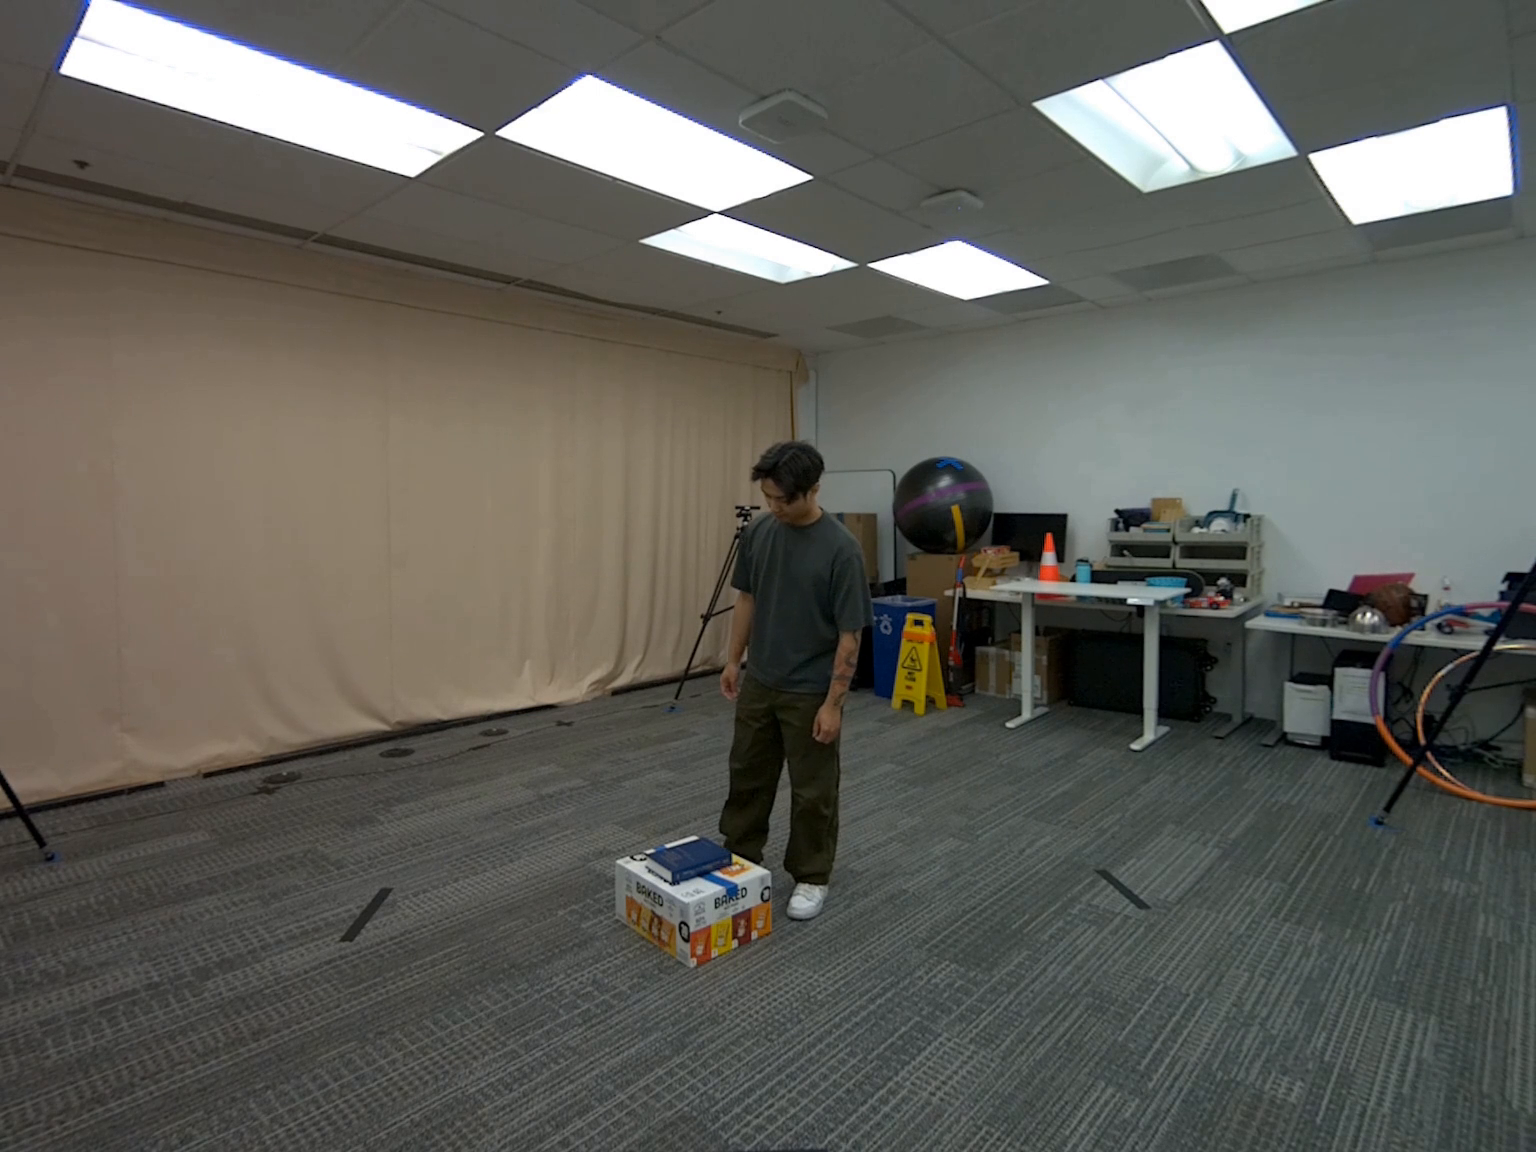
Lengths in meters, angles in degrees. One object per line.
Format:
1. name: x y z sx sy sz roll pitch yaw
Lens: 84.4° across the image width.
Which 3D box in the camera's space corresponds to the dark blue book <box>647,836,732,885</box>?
1. dark blue book: -0.268 0.950 2.795 0.238 0.045 0.169 -4 6 -38
